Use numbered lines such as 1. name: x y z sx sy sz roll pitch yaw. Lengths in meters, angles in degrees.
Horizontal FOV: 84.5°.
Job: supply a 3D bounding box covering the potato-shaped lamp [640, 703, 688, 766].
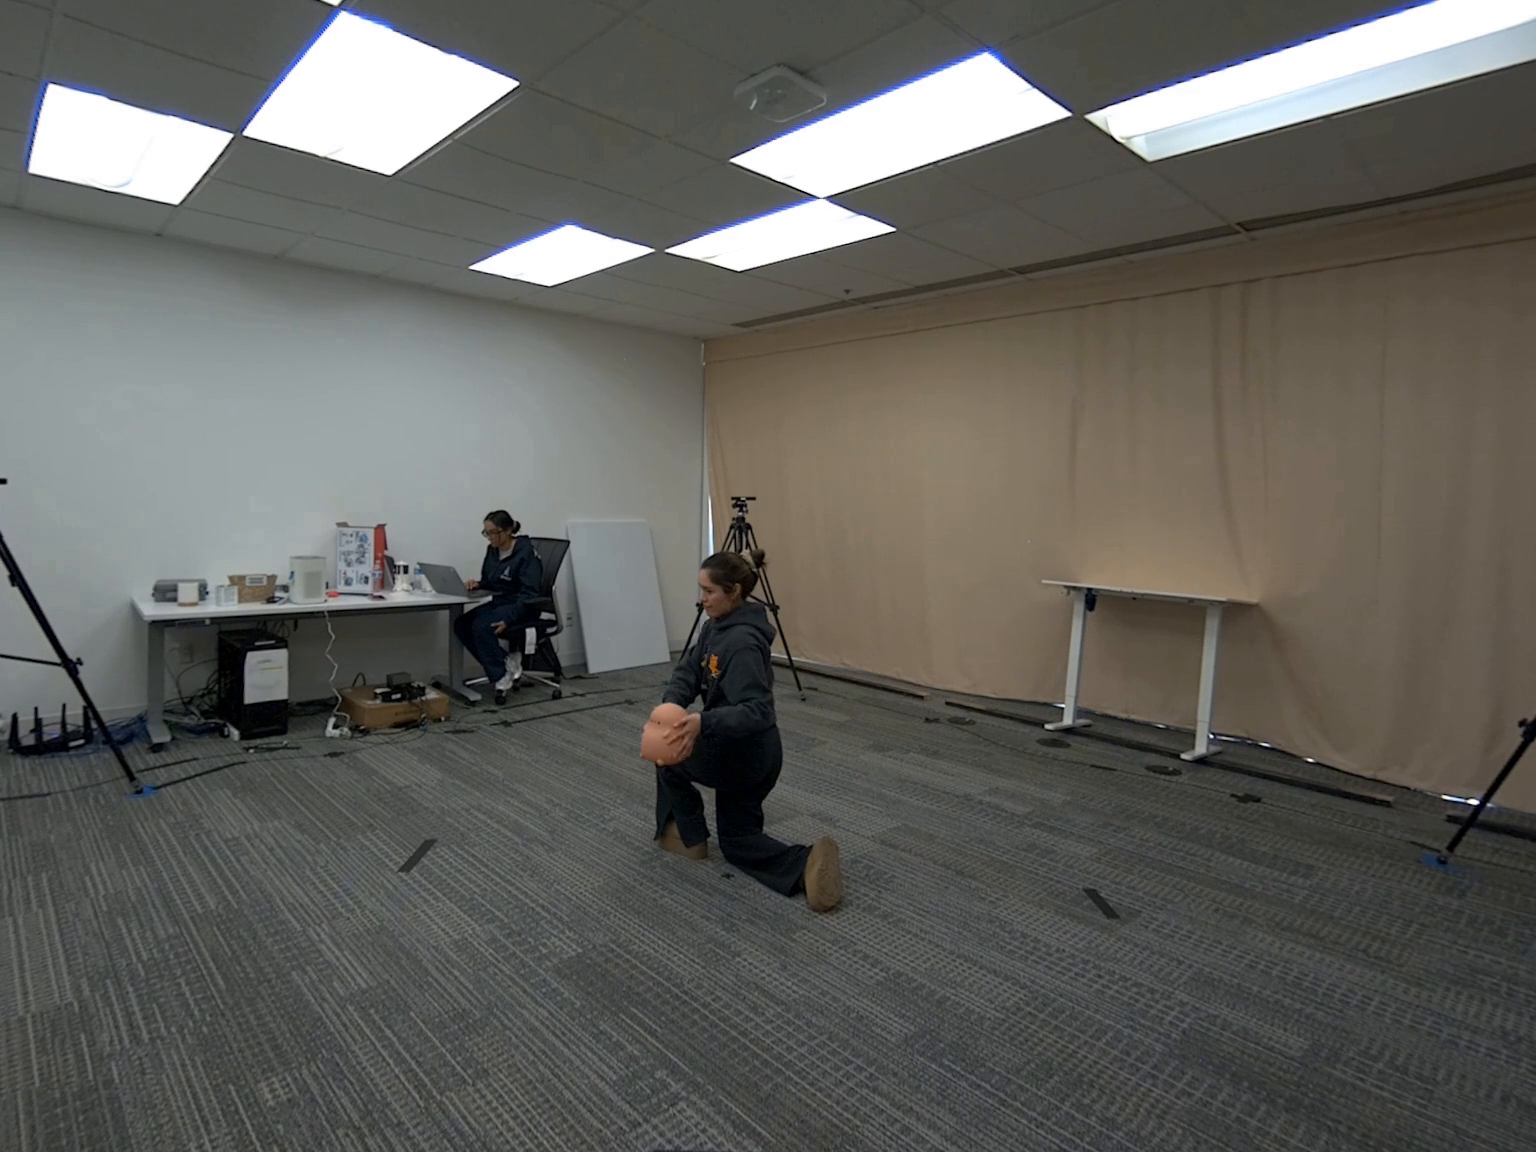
1. potato-shaped lamp: -0.351 0.534 2.906 0.167 0.198 0.169 2 2 -42
